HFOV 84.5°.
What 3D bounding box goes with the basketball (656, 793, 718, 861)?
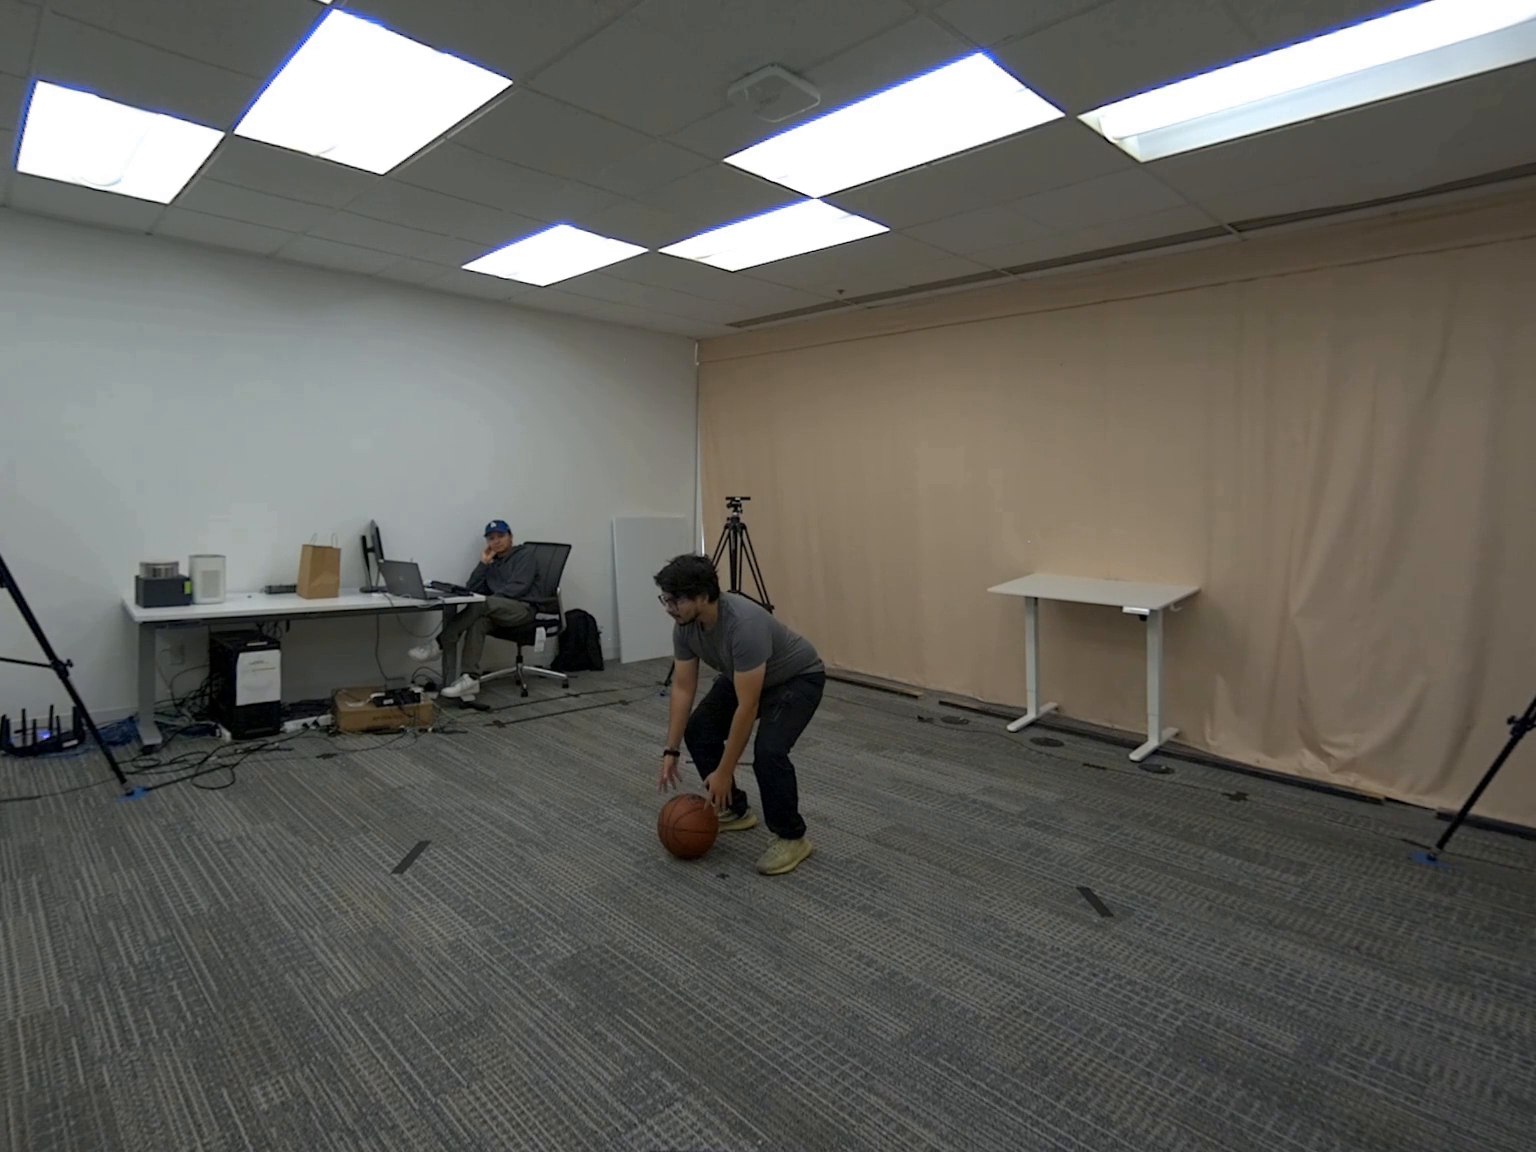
[{"bbox_3d":[-0.318,0.965,3.262,0.236,0.235,0.237,1,4,-1],"label":"basketball"}]
